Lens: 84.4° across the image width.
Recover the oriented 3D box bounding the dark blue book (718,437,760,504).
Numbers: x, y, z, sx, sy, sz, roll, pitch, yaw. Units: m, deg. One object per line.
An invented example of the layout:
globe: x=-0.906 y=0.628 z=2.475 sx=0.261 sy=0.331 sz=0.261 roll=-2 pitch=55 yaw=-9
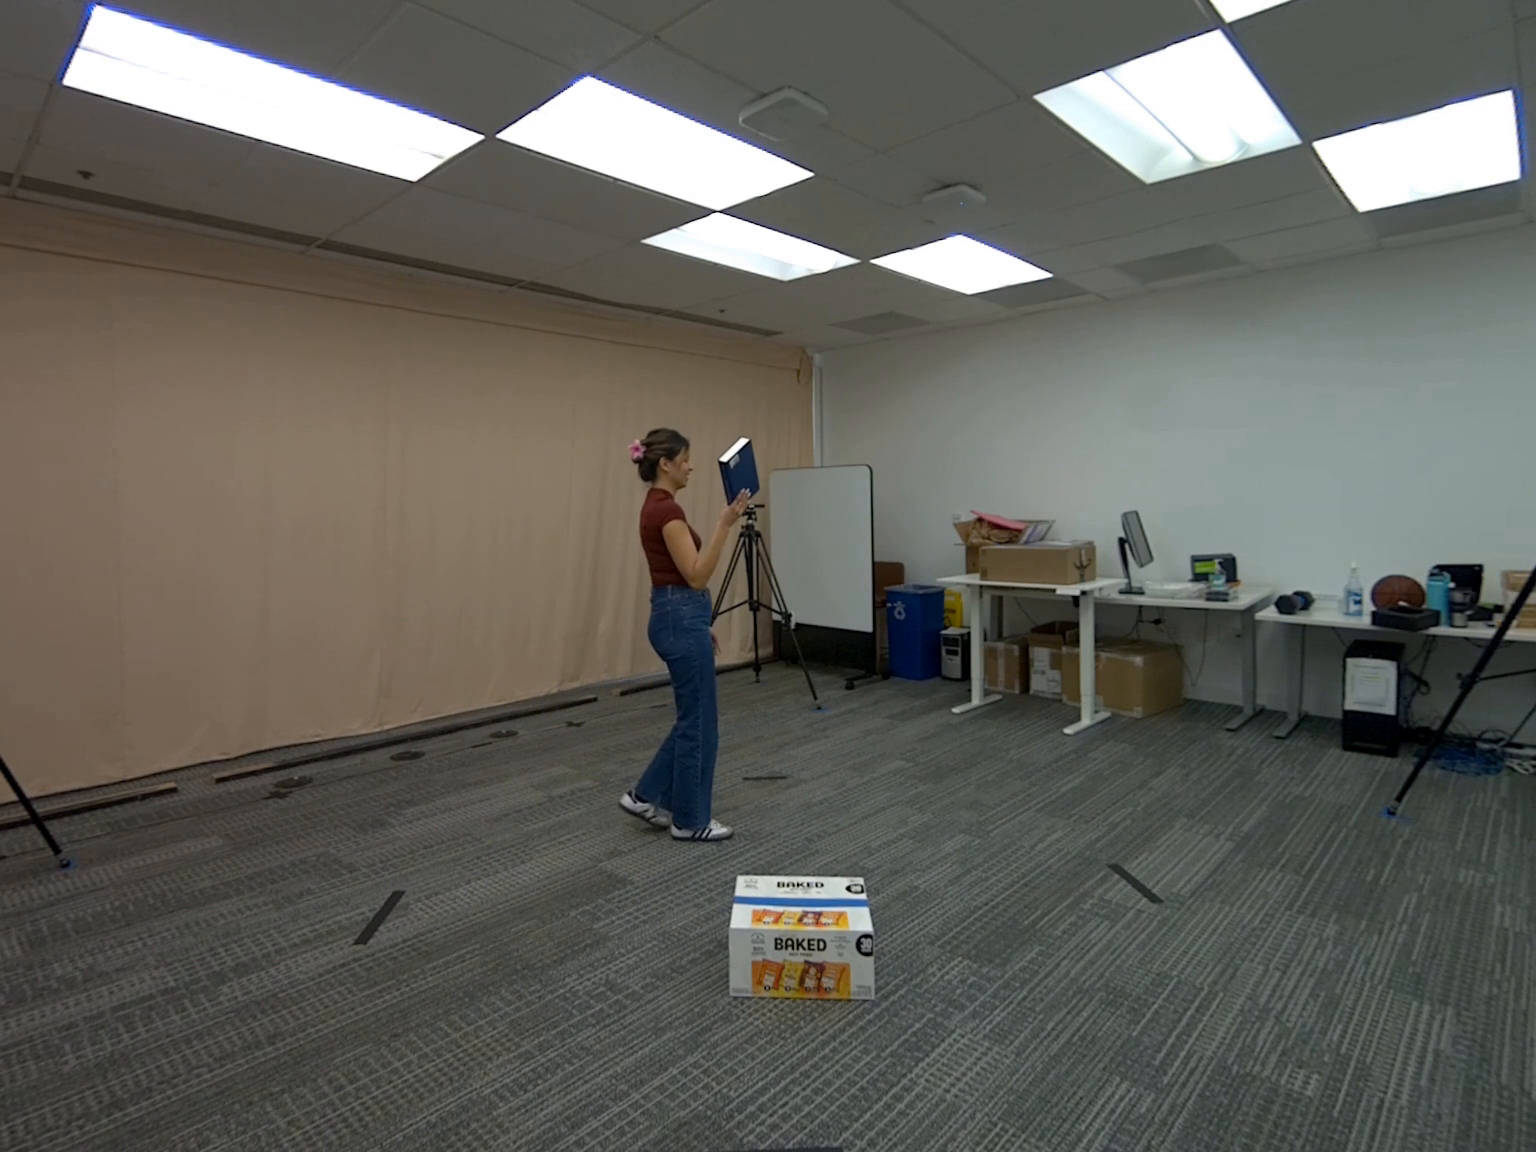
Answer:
dark blue book: x=-0.111 y=-0.388 z=3.227 sx=0.046 sy=0.239 sz=0.162 roll=20 pitch=50 yaw=30
